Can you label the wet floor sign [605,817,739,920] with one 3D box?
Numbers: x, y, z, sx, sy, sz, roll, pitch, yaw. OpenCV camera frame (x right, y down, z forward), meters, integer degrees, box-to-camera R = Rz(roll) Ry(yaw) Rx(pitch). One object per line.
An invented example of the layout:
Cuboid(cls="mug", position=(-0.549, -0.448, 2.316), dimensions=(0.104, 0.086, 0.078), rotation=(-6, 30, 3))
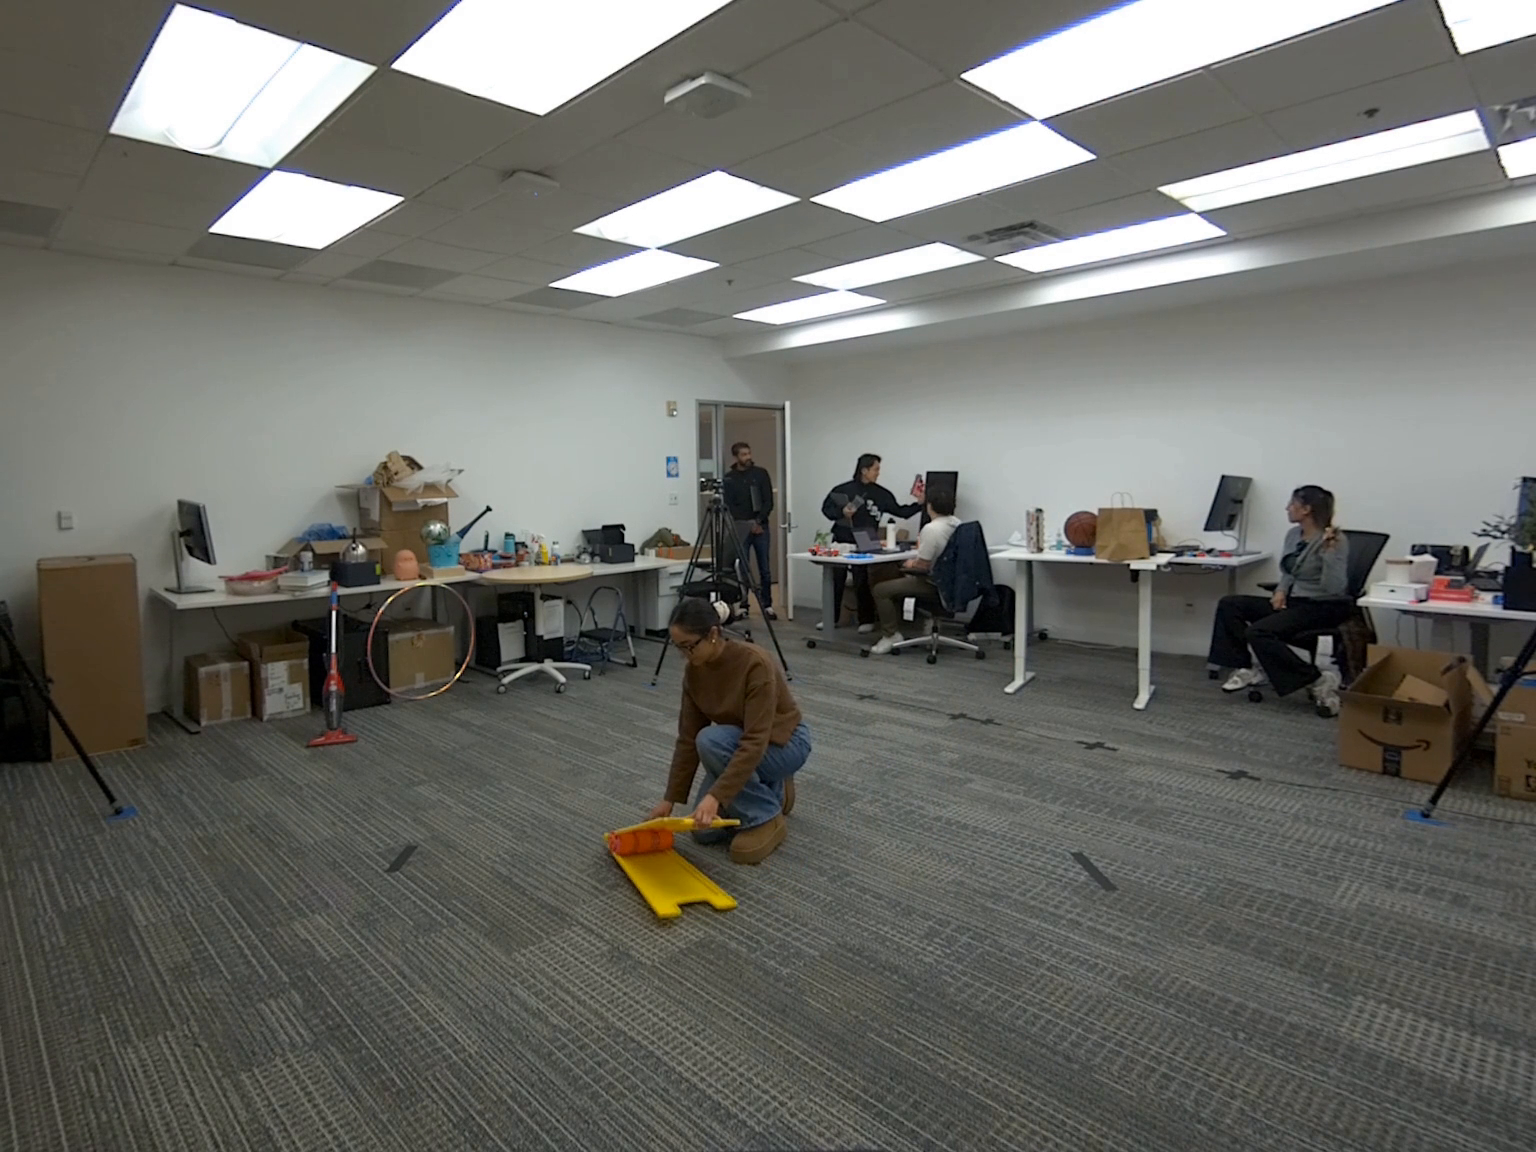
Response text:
Cuboid(cls="wet floor sign", position=(-0.376, 0.966, 3.024), dimensions=(0.275, 0.292, 0.657), rotation=(7, -11, -29))
